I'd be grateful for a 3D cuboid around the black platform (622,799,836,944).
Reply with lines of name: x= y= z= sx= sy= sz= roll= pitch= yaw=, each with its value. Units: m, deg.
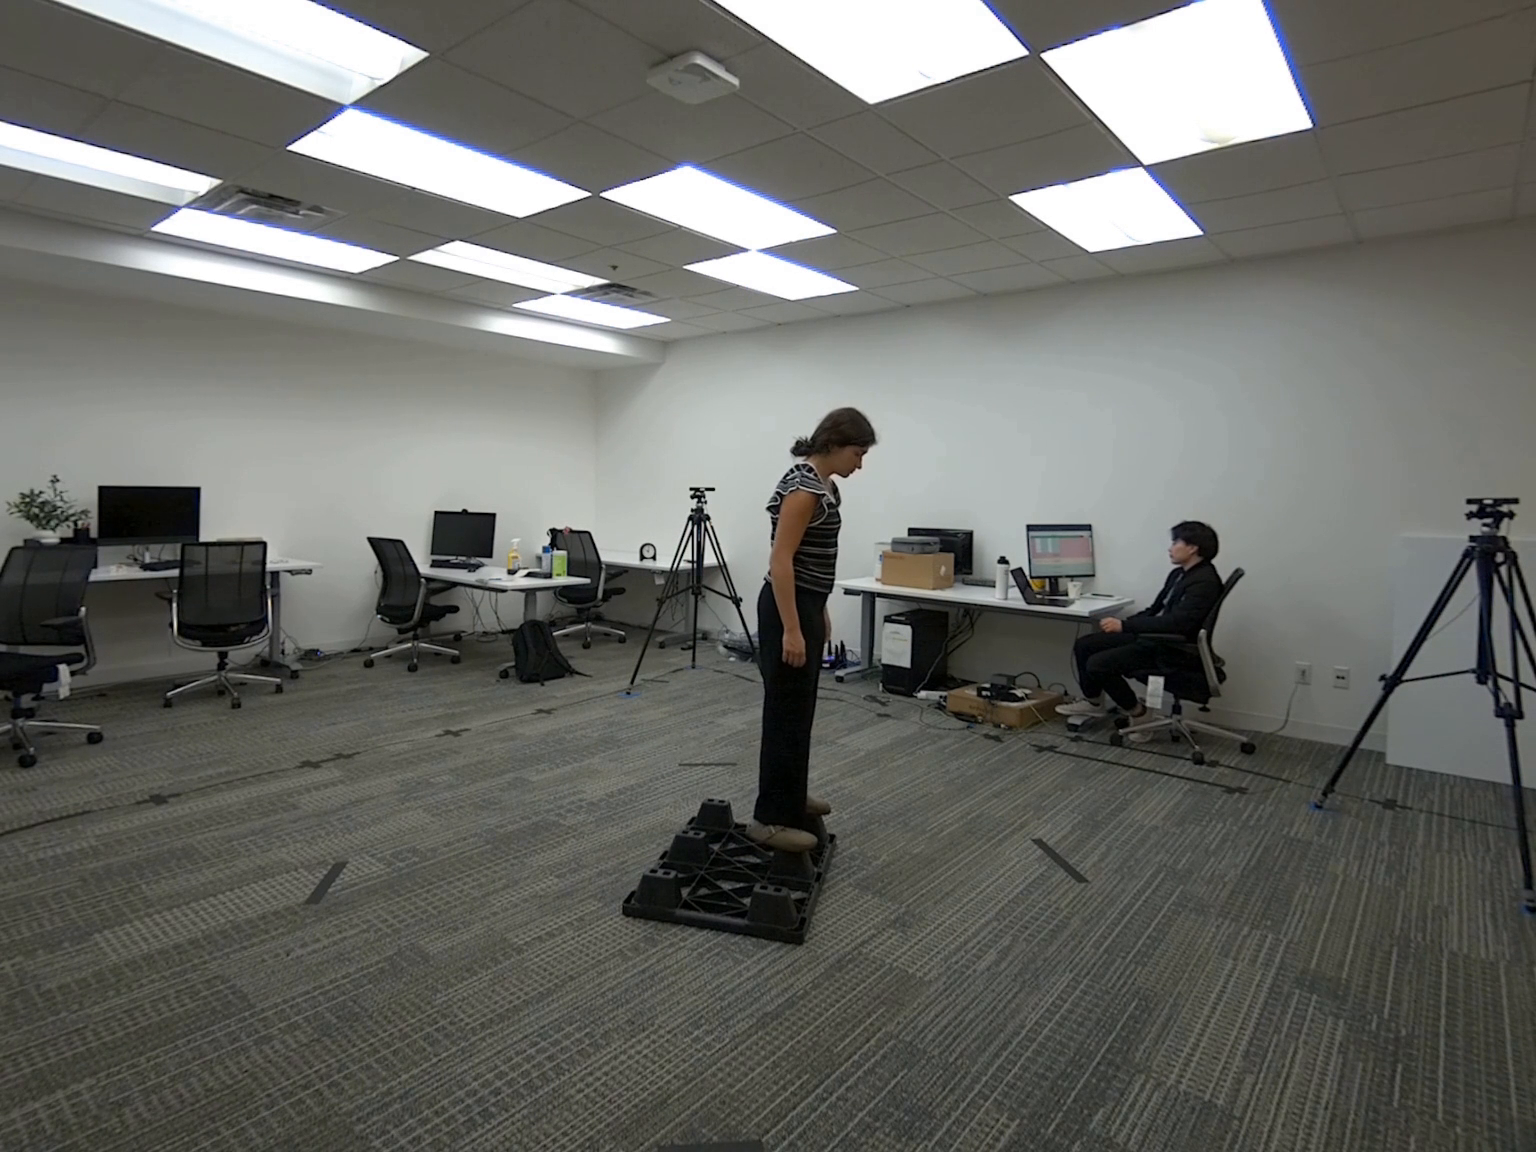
black platform: x=-0.113 y=1.008 z=3.054 sx=0.615 sy=0.143 sz=0.796 roll=3 pitch=6 yaw=13
